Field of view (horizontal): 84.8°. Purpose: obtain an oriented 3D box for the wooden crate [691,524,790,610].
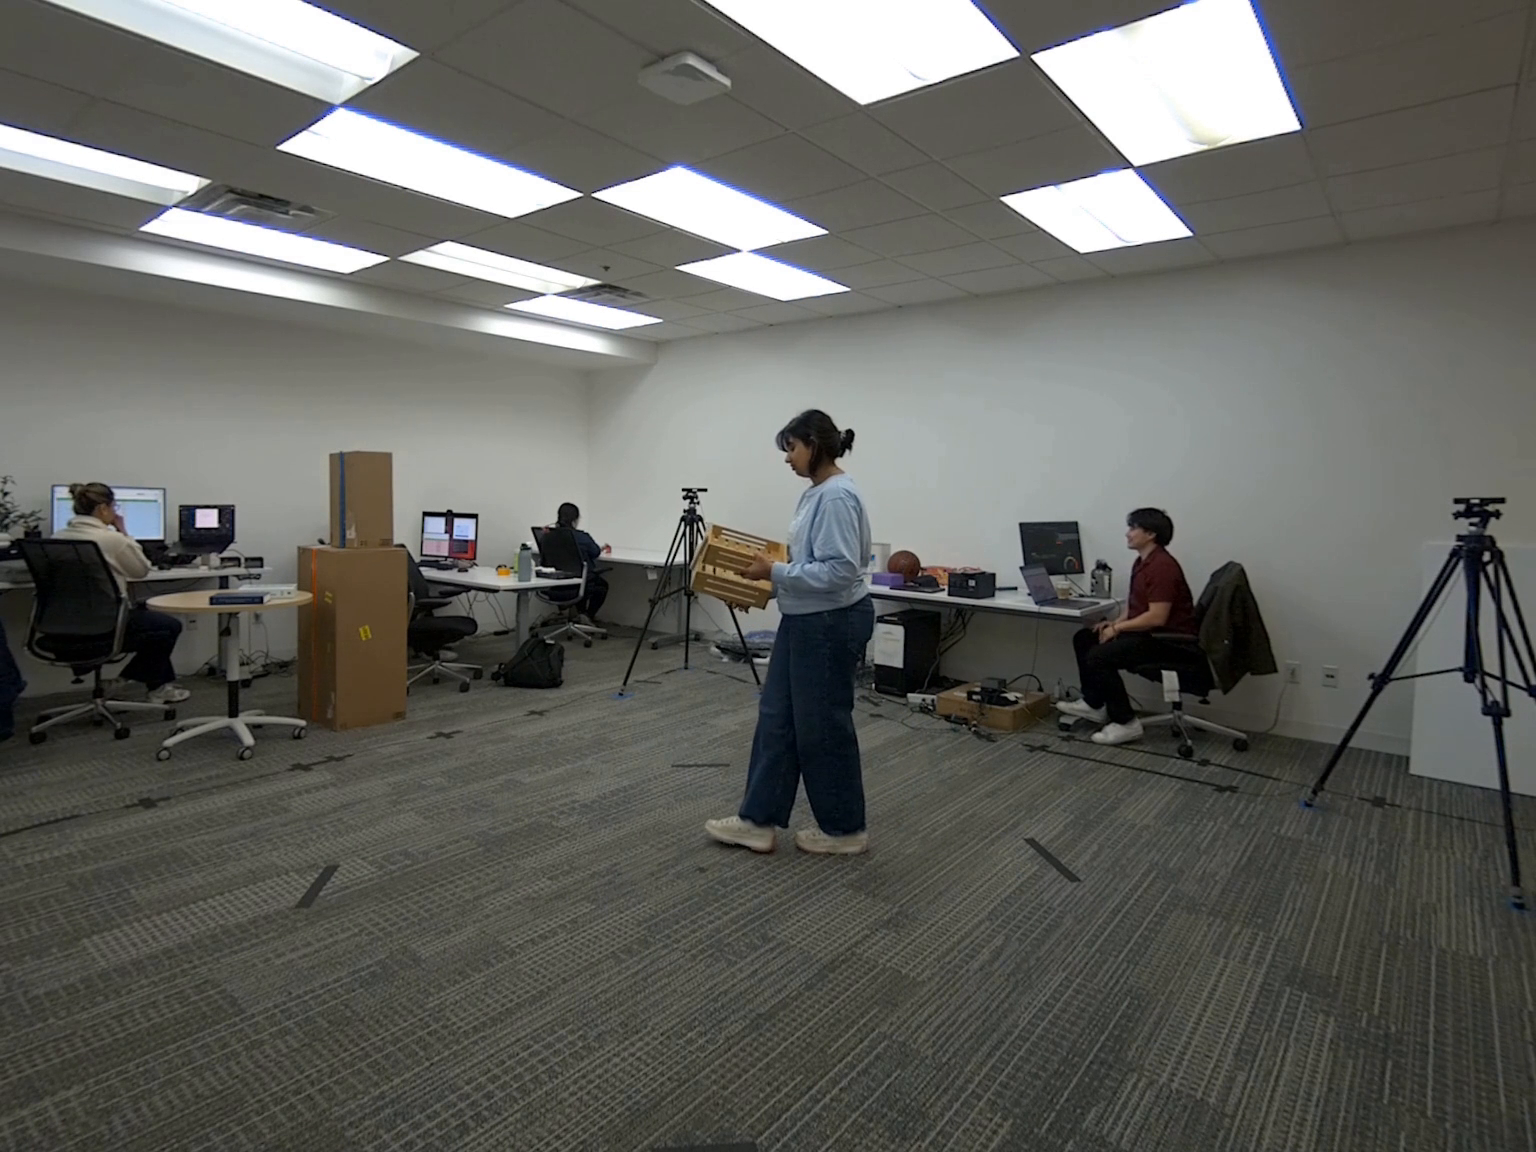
[{"bbox_3d":[-0.120,-0.067,3.276,0.322,0.269,0.308,16,33,-6],"label":"wooden crate"}]
